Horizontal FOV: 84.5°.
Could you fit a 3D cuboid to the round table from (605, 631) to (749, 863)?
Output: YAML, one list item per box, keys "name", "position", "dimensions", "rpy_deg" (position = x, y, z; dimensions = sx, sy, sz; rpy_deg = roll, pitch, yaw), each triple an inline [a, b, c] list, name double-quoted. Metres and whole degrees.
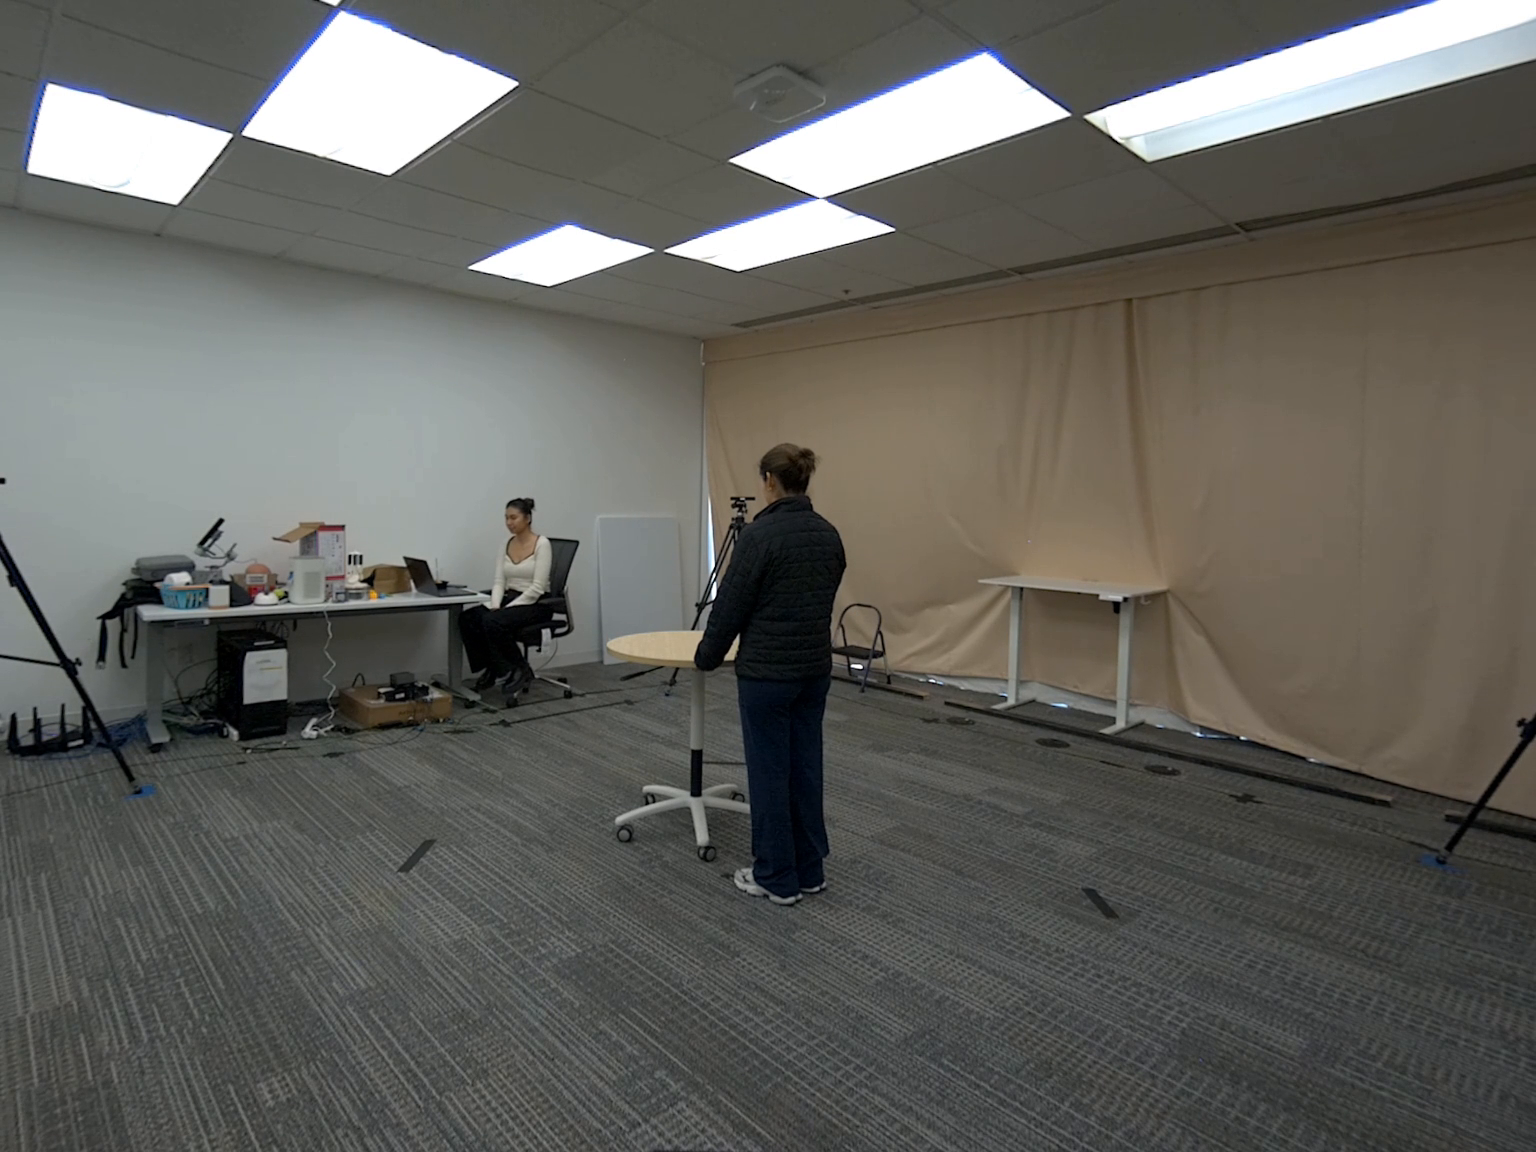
- name: "round table"
  position: [-0.303, 0.675, 3.510]
  dimensions: [0.784, 0.785, 0.787]
  rpy_deg: [1, 3, -1]
